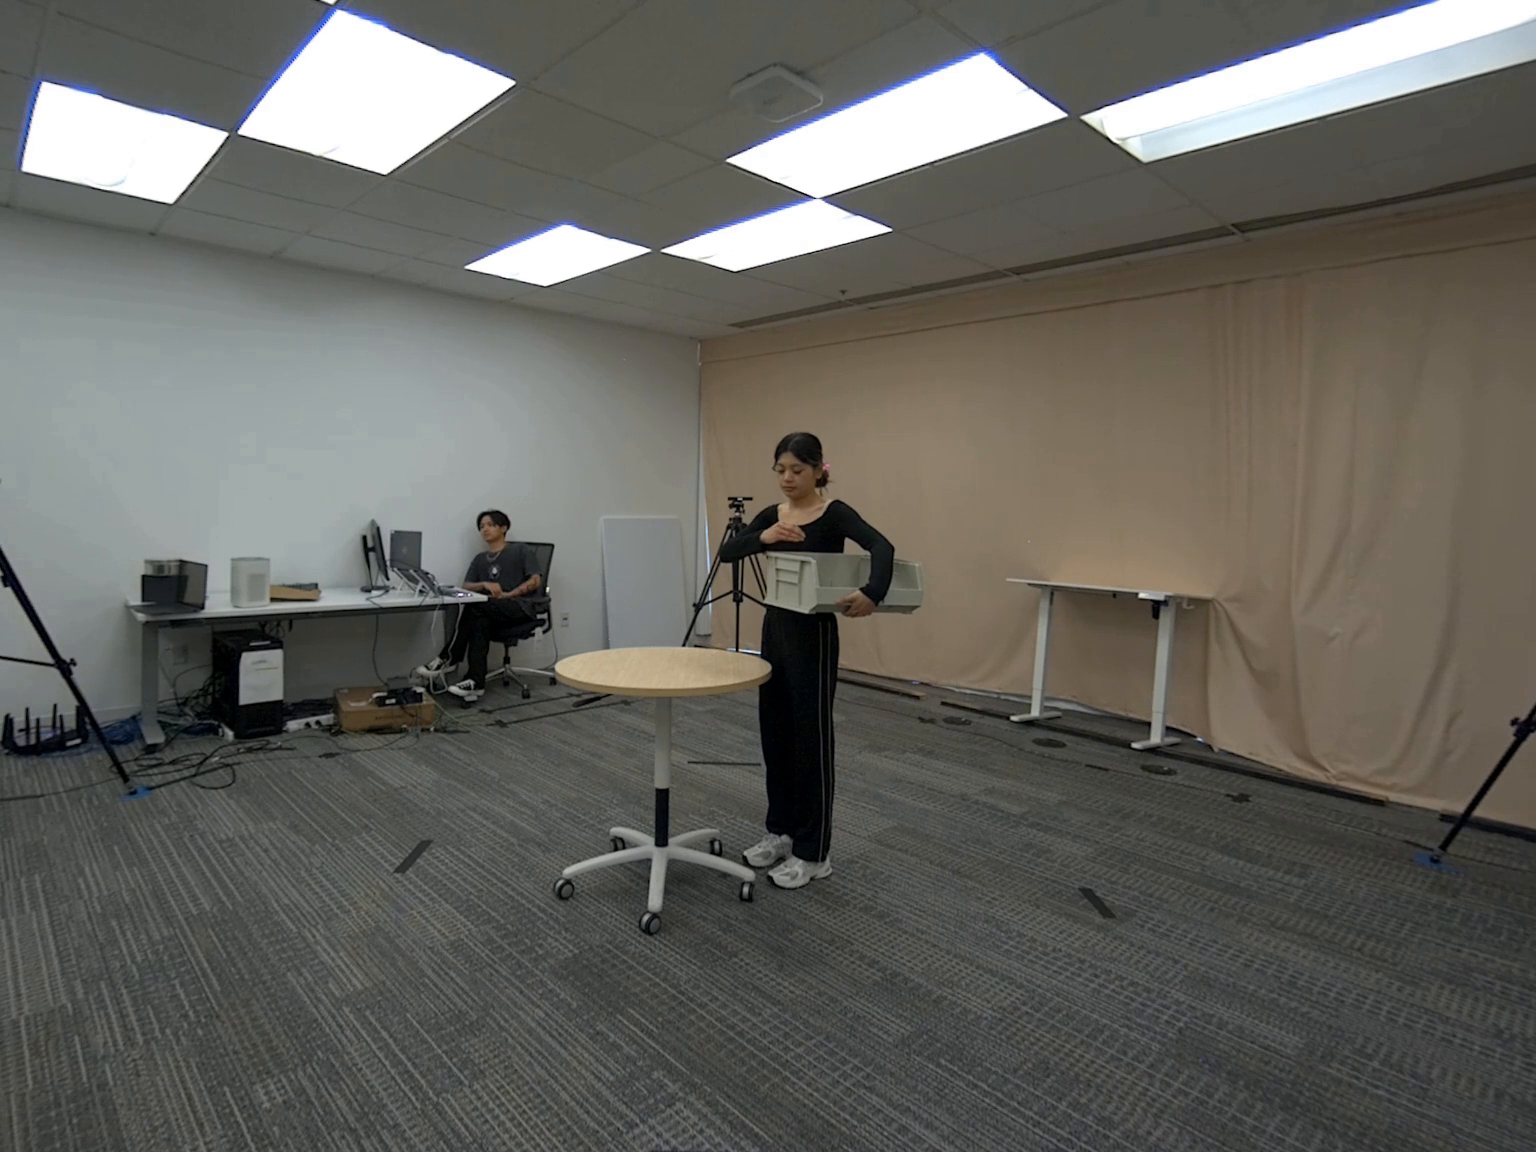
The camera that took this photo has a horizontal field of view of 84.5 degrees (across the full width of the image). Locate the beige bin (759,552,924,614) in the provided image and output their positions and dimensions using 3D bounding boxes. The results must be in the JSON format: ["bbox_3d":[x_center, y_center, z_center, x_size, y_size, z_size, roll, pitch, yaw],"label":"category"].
[{"bbox_3d":[0.246,0.023,2.868,0.415,0.188,0.385,0,4,-25],"label":"beige bin"}]
